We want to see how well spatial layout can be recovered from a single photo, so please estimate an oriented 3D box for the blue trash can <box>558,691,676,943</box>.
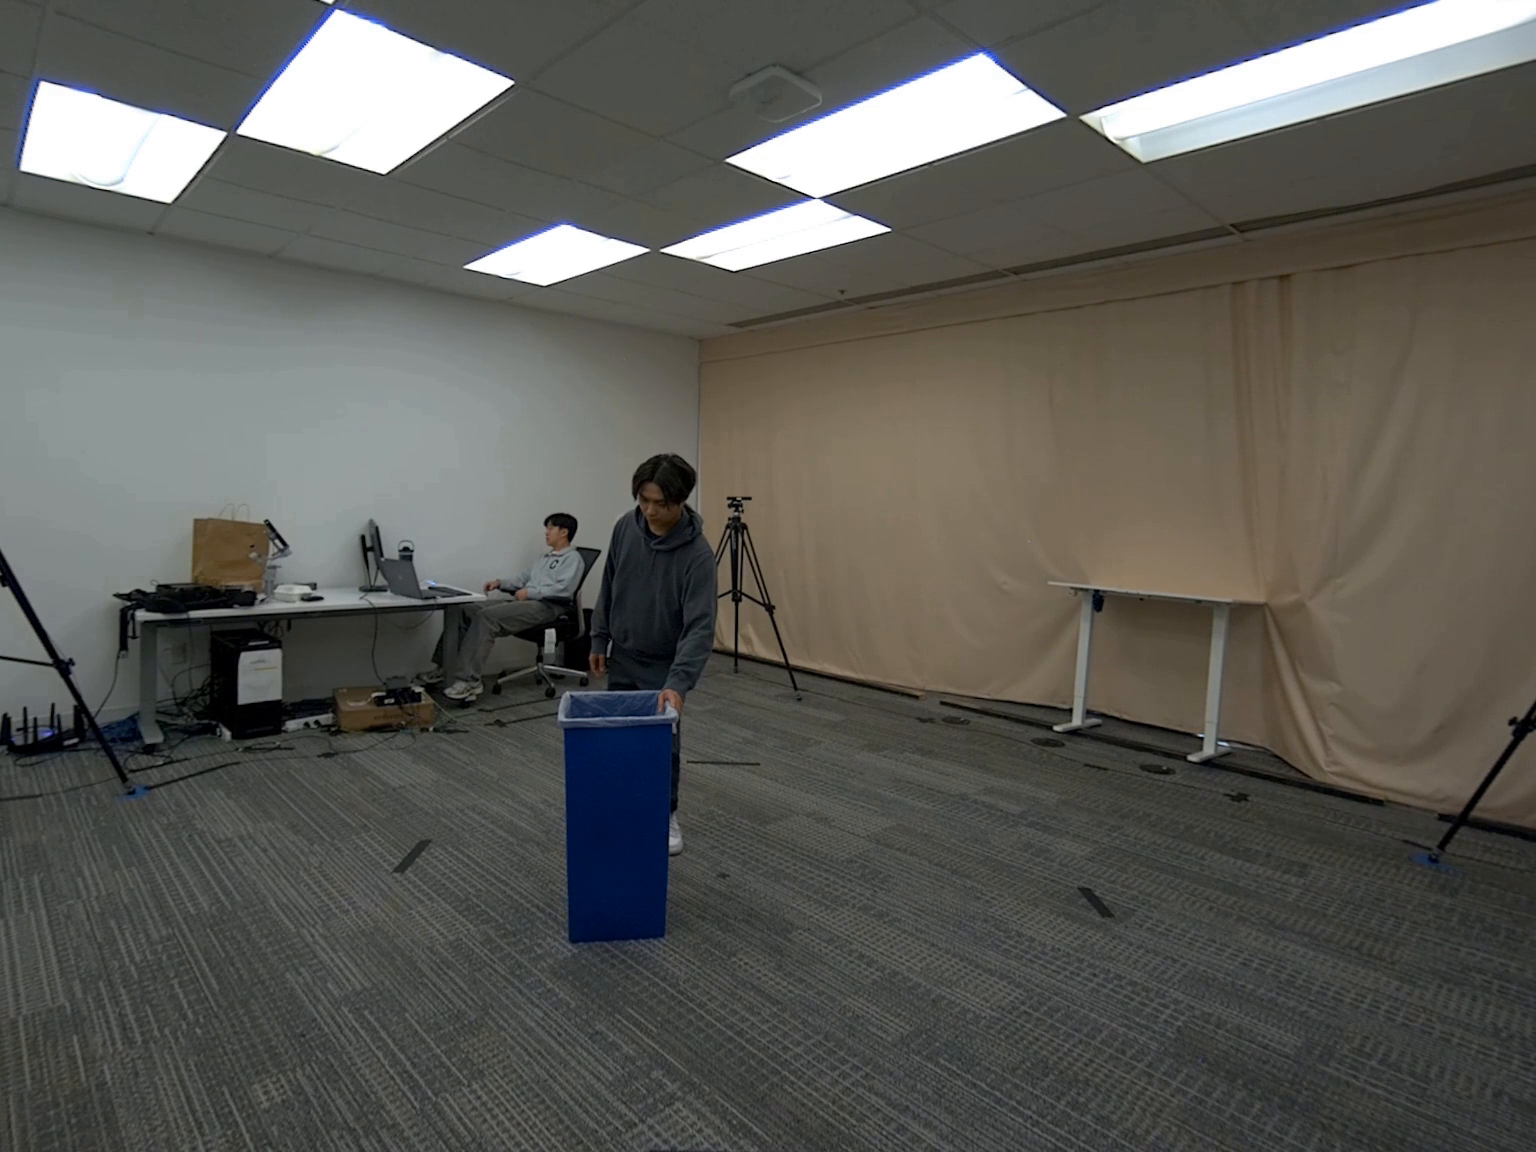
[{"bbox_3d":[-0.507,0.778,2.754,0.371,0.712,0.382,1,4,-10],"label":"blue trash can"}]
